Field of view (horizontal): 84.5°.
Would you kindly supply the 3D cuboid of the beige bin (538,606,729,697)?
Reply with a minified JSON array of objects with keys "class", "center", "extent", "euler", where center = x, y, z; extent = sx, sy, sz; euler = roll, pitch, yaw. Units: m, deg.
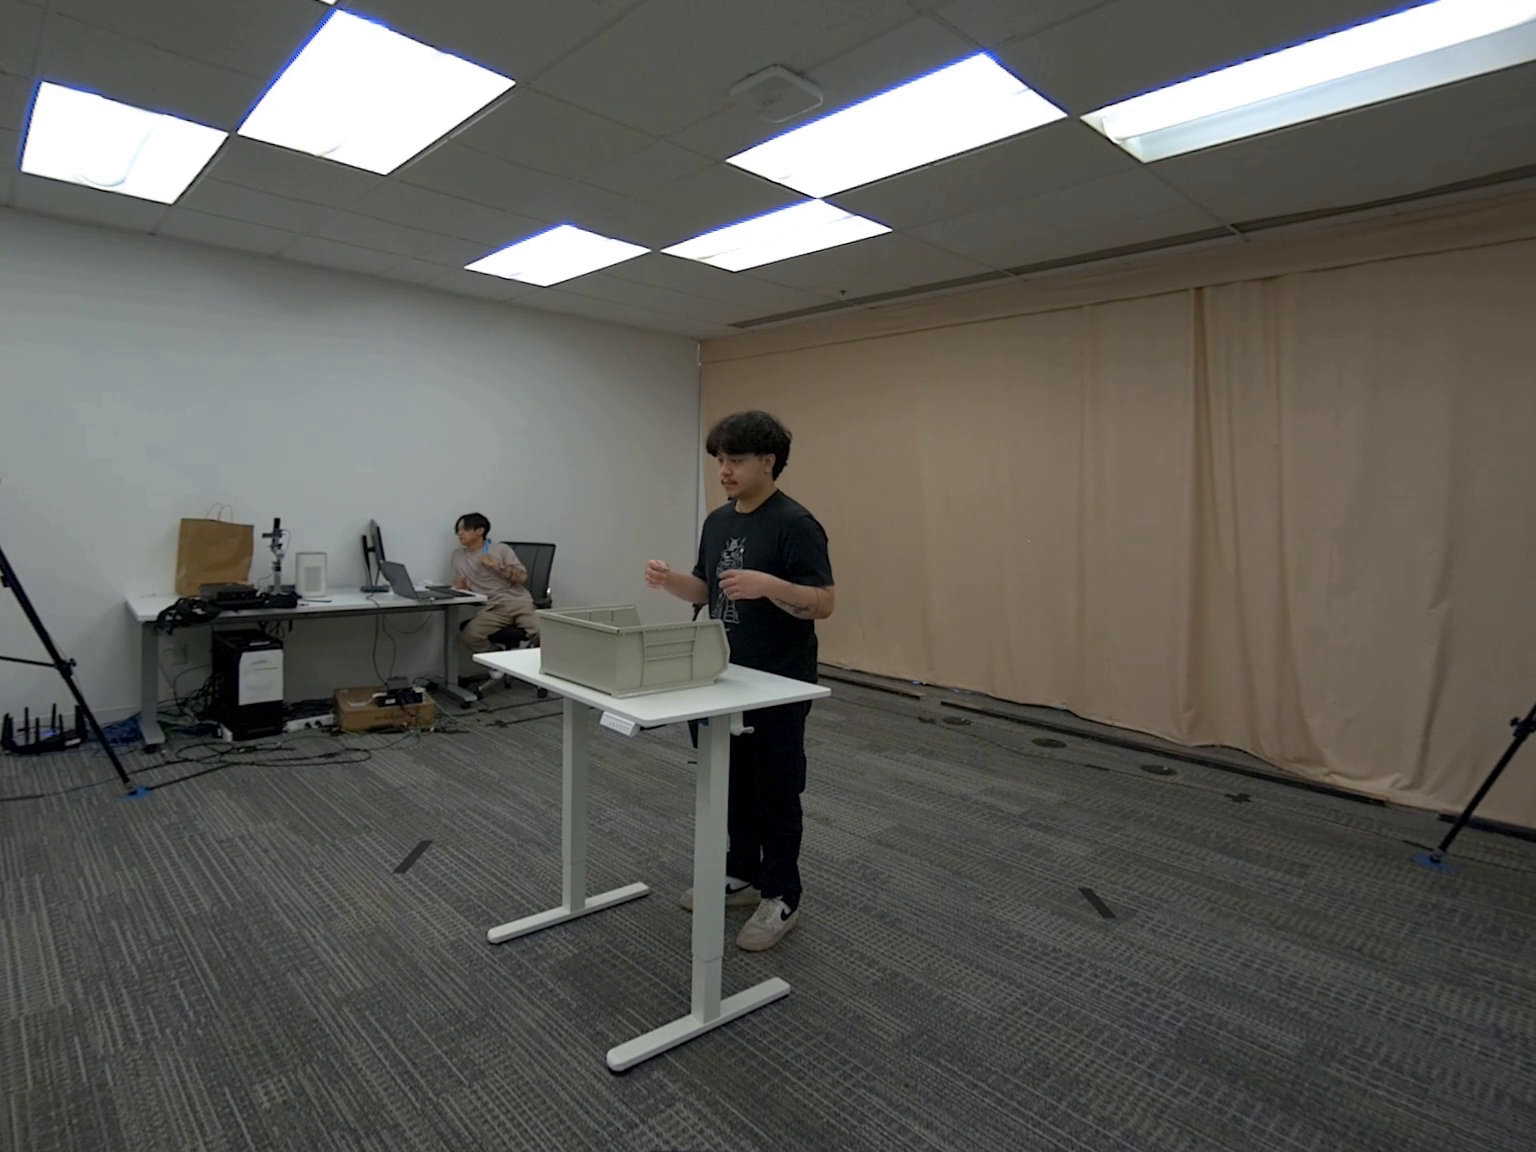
[{"class":"beige bin","center":[-0.390,0.200,2.355],"extent":[0.369,0.188,0.433],"euler":[-3,6,-42]}]
